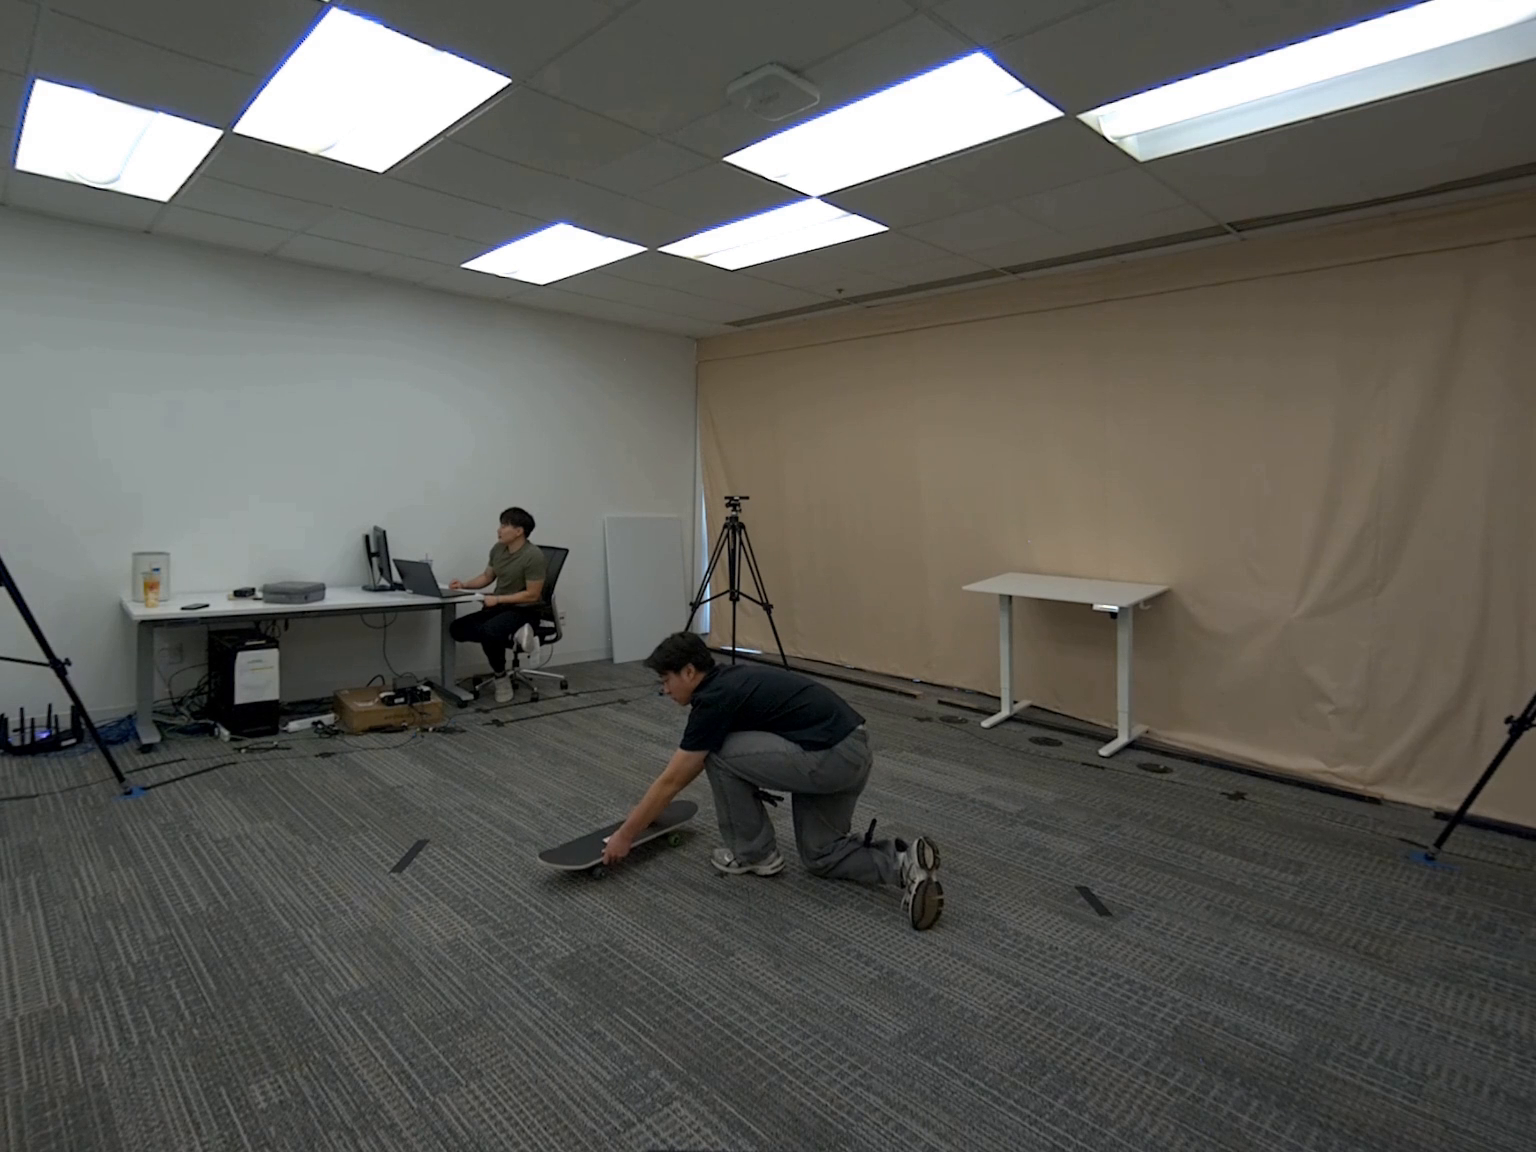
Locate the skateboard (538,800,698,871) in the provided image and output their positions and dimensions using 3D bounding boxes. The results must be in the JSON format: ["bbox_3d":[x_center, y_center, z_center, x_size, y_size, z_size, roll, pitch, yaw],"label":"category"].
[{"bbox_3d":[-0.559,1.024,3.243,0.198,0.110,0.769,5,6,36],"label":"skateboard"}]
